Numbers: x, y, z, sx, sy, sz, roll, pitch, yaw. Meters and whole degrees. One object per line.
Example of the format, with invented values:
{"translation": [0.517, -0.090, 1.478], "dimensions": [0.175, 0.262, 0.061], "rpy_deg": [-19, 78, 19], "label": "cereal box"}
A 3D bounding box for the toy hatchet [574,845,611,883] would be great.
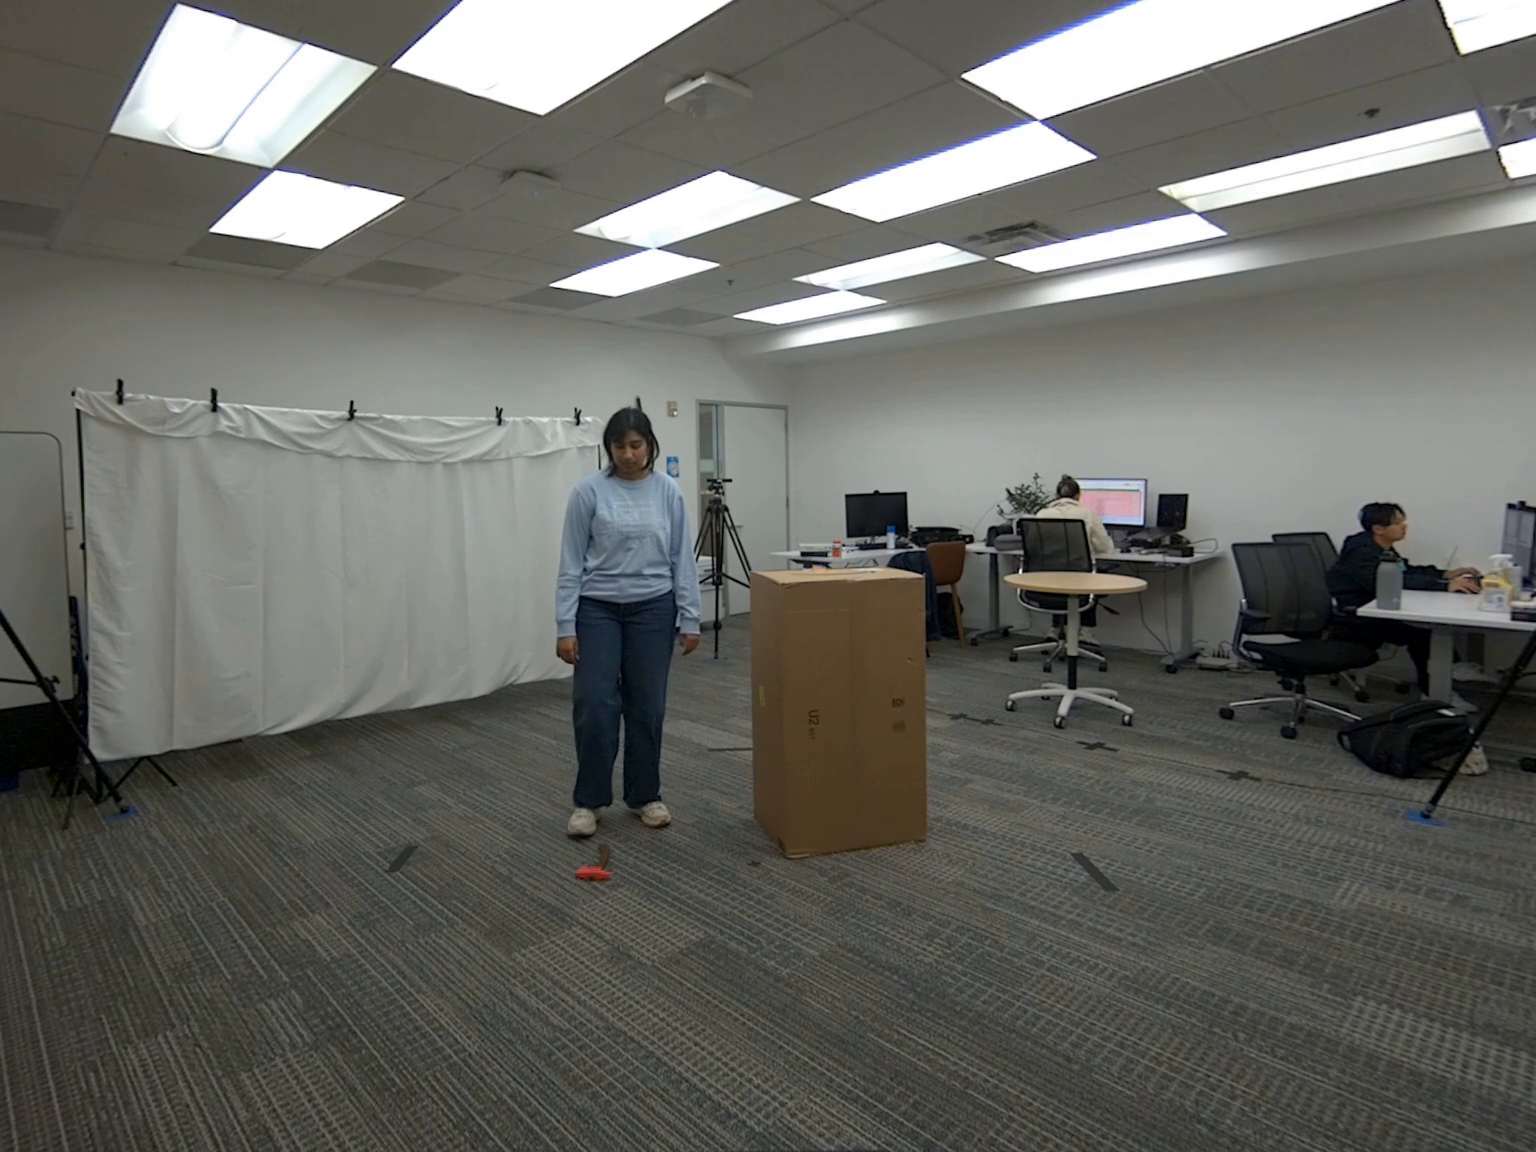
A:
{"translation": [-0.643, 1.047, 3.116], "dimensions": [0.130, 0.029, 0.273], "rpy_deg": [-4, 4, -12], "label": "toy hatchet"}
